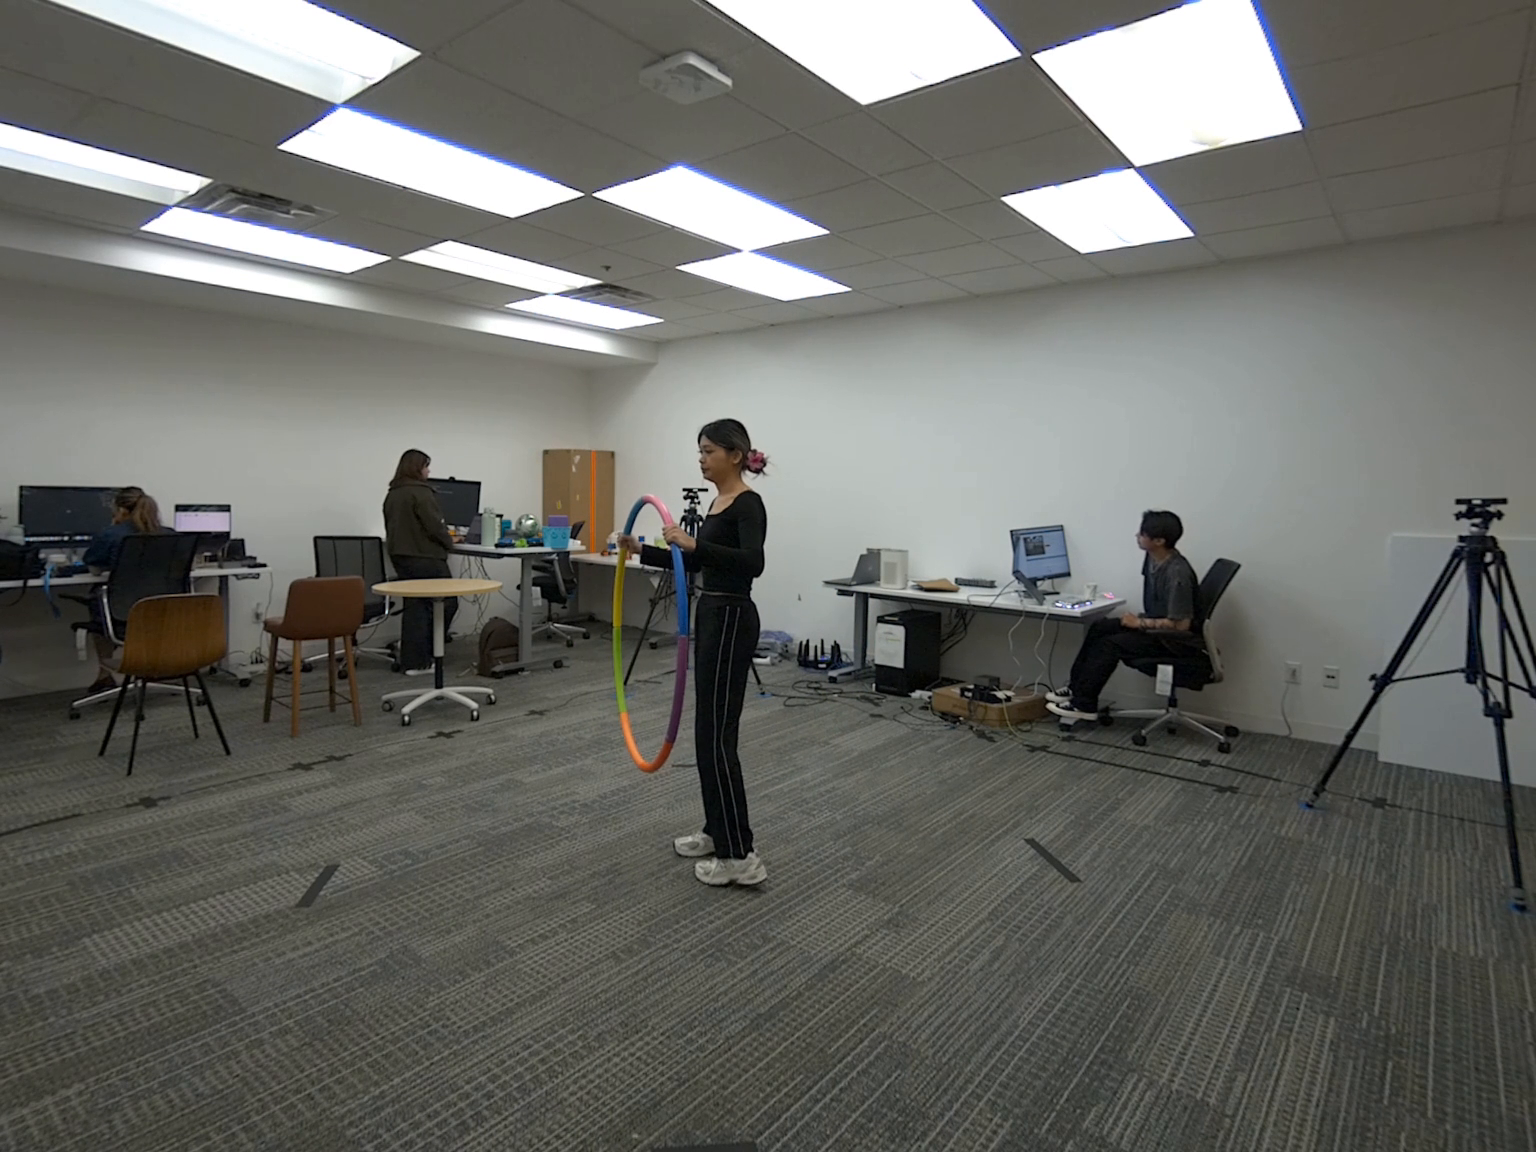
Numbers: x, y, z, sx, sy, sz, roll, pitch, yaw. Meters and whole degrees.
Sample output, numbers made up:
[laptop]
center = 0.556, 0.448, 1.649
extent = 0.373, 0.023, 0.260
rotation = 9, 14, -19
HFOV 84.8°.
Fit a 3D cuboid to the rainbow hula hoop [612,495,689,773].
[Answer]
[rainbow hula hoop]
center = -0.460, 0.202, 3.109
extent = 0.035, 0.976, 1.003
rotation = 2, 3, -23
